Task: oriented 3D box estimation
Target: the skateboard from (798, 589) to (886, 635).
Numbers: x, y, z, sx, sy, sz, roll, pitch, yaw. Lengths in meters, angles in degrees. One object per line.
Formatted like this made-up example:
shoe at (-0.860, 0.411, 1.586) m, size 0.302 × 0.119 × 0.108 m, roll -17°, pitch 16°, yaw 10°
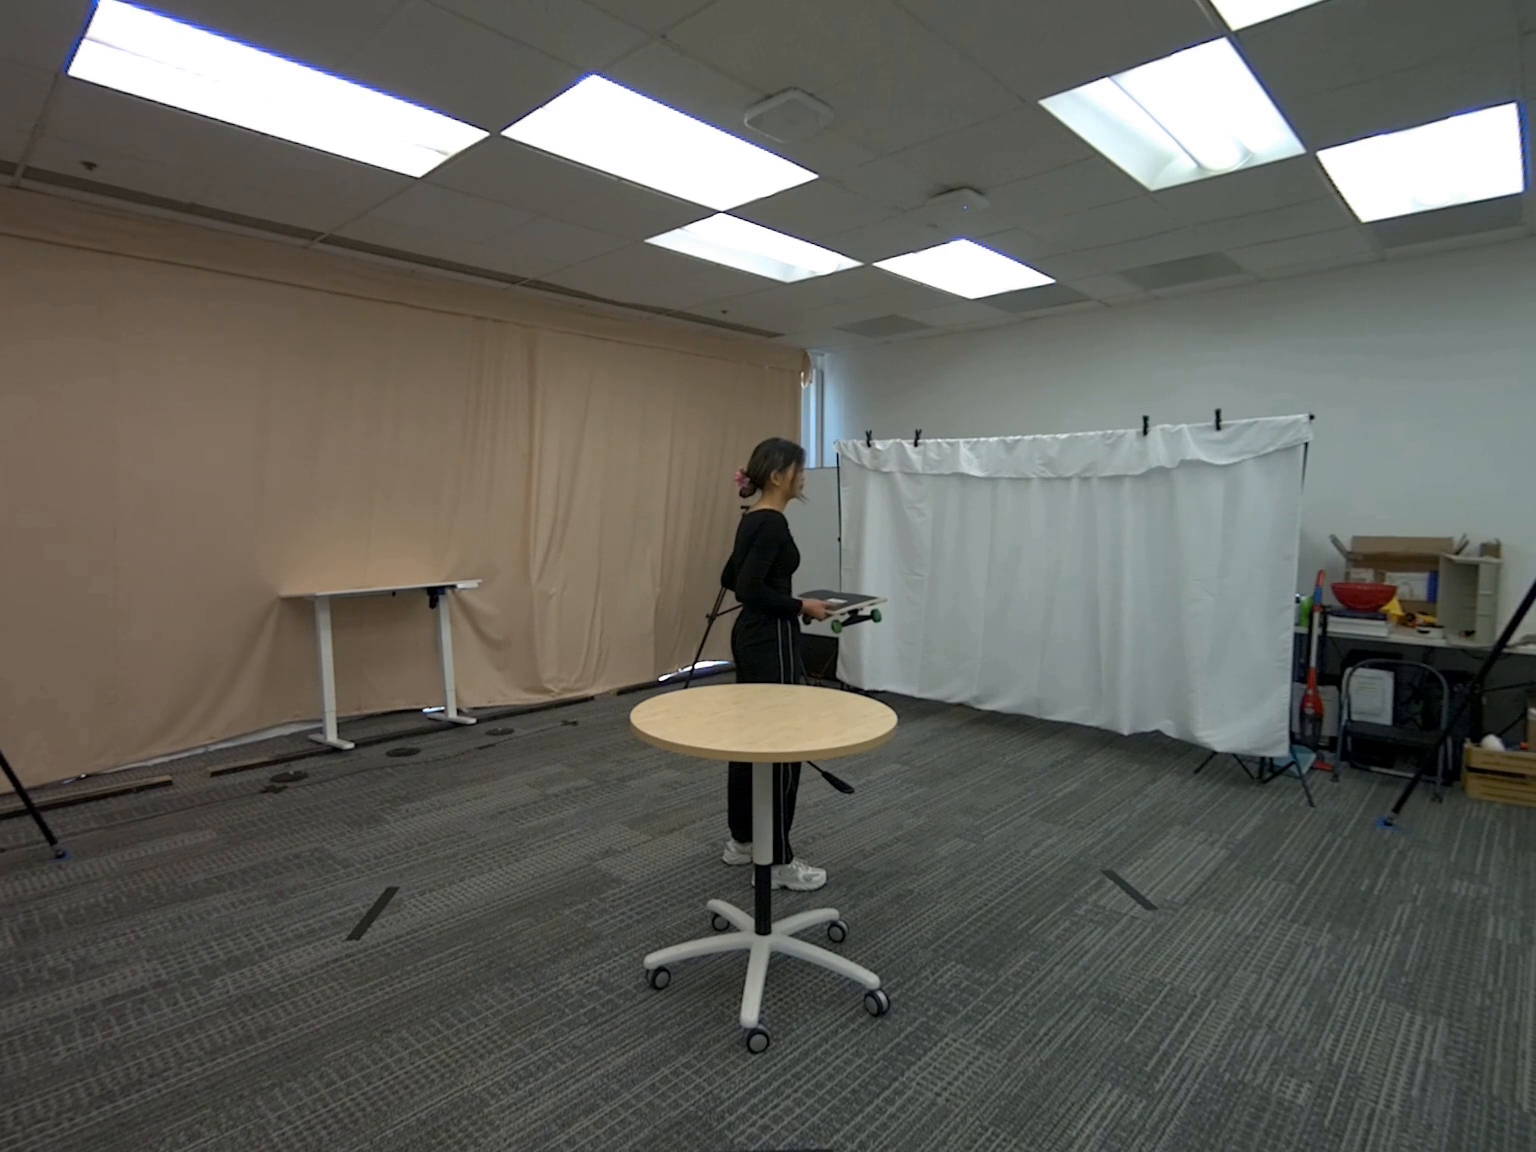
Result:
skateboard at (0.272, 0.134, 3.215) m, size 0.191 × 0.110 × 0.795 m, roll -11°, pitch 4°, yaw -13°
